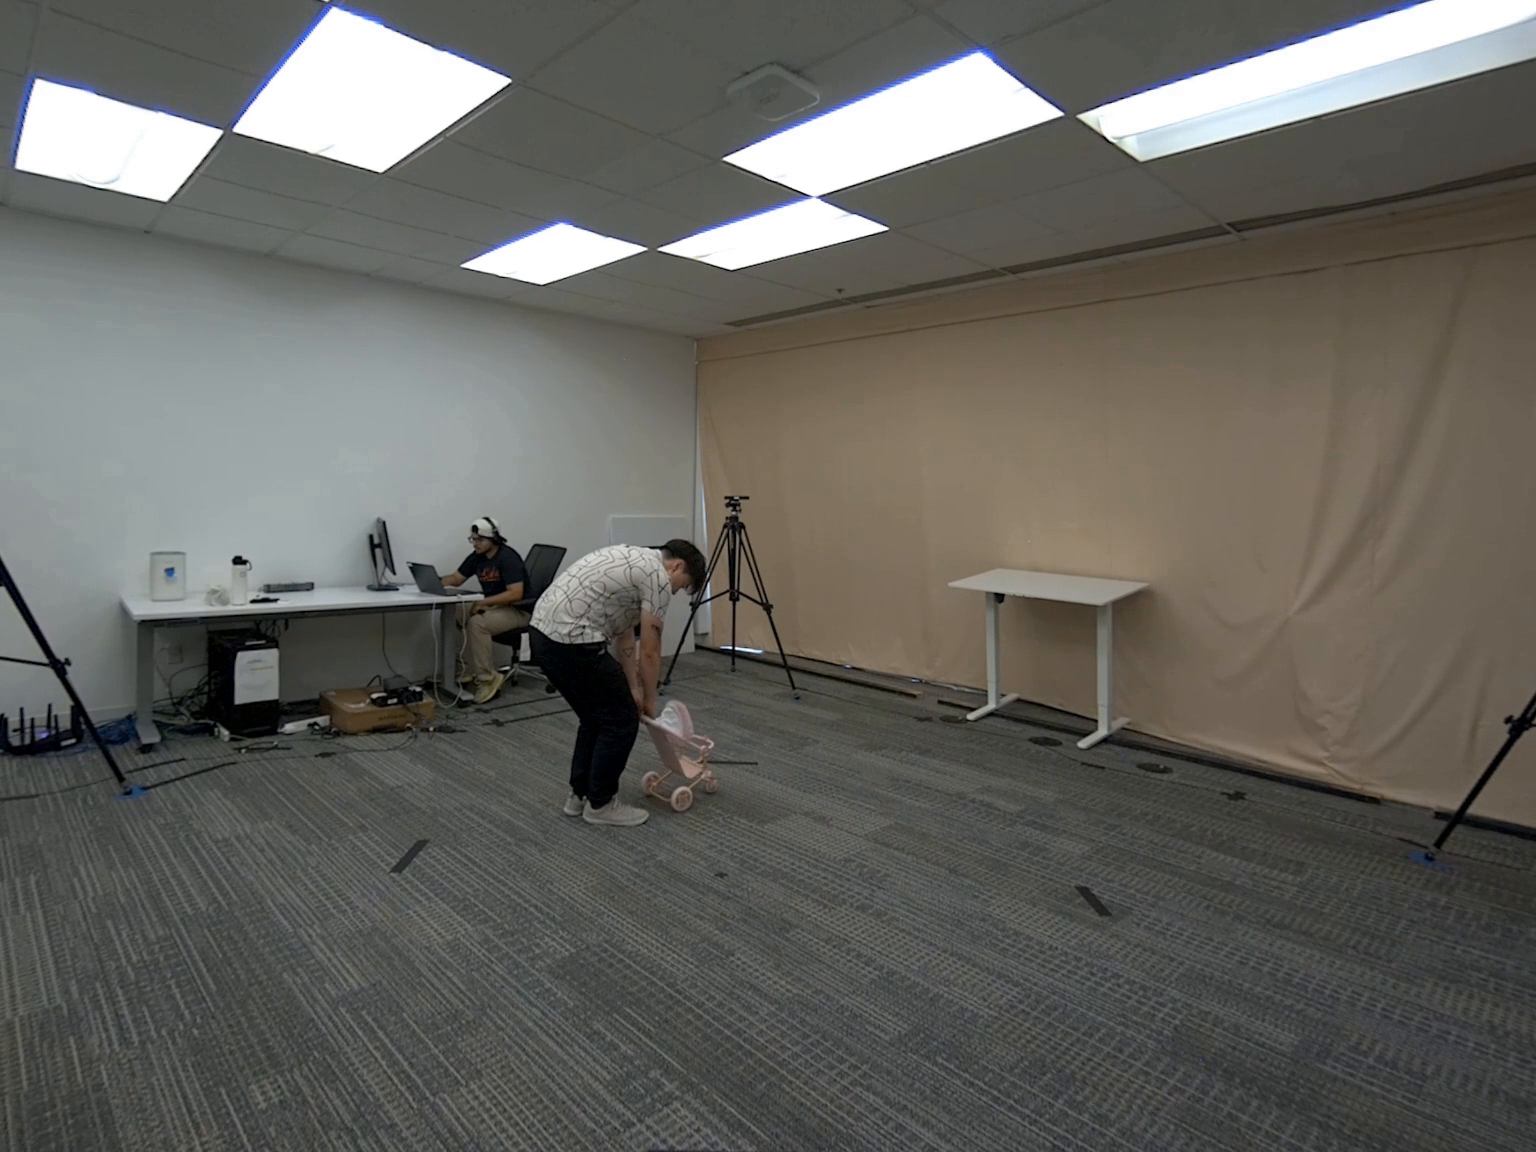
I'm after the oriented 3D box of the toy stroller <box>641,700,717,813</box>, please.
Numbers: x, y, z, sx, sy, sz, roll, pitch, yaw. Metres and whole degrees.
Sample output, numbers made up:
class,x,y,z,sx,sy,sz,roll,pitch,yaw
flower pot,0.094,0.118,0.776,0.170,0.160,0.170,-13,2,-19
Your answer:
class,x,y,z,sx,sy,sz,roll,pitch,yaw
toy stroller,-0.418,0.806,3.854,0.336,0.529,0.288,-19,15,-32
